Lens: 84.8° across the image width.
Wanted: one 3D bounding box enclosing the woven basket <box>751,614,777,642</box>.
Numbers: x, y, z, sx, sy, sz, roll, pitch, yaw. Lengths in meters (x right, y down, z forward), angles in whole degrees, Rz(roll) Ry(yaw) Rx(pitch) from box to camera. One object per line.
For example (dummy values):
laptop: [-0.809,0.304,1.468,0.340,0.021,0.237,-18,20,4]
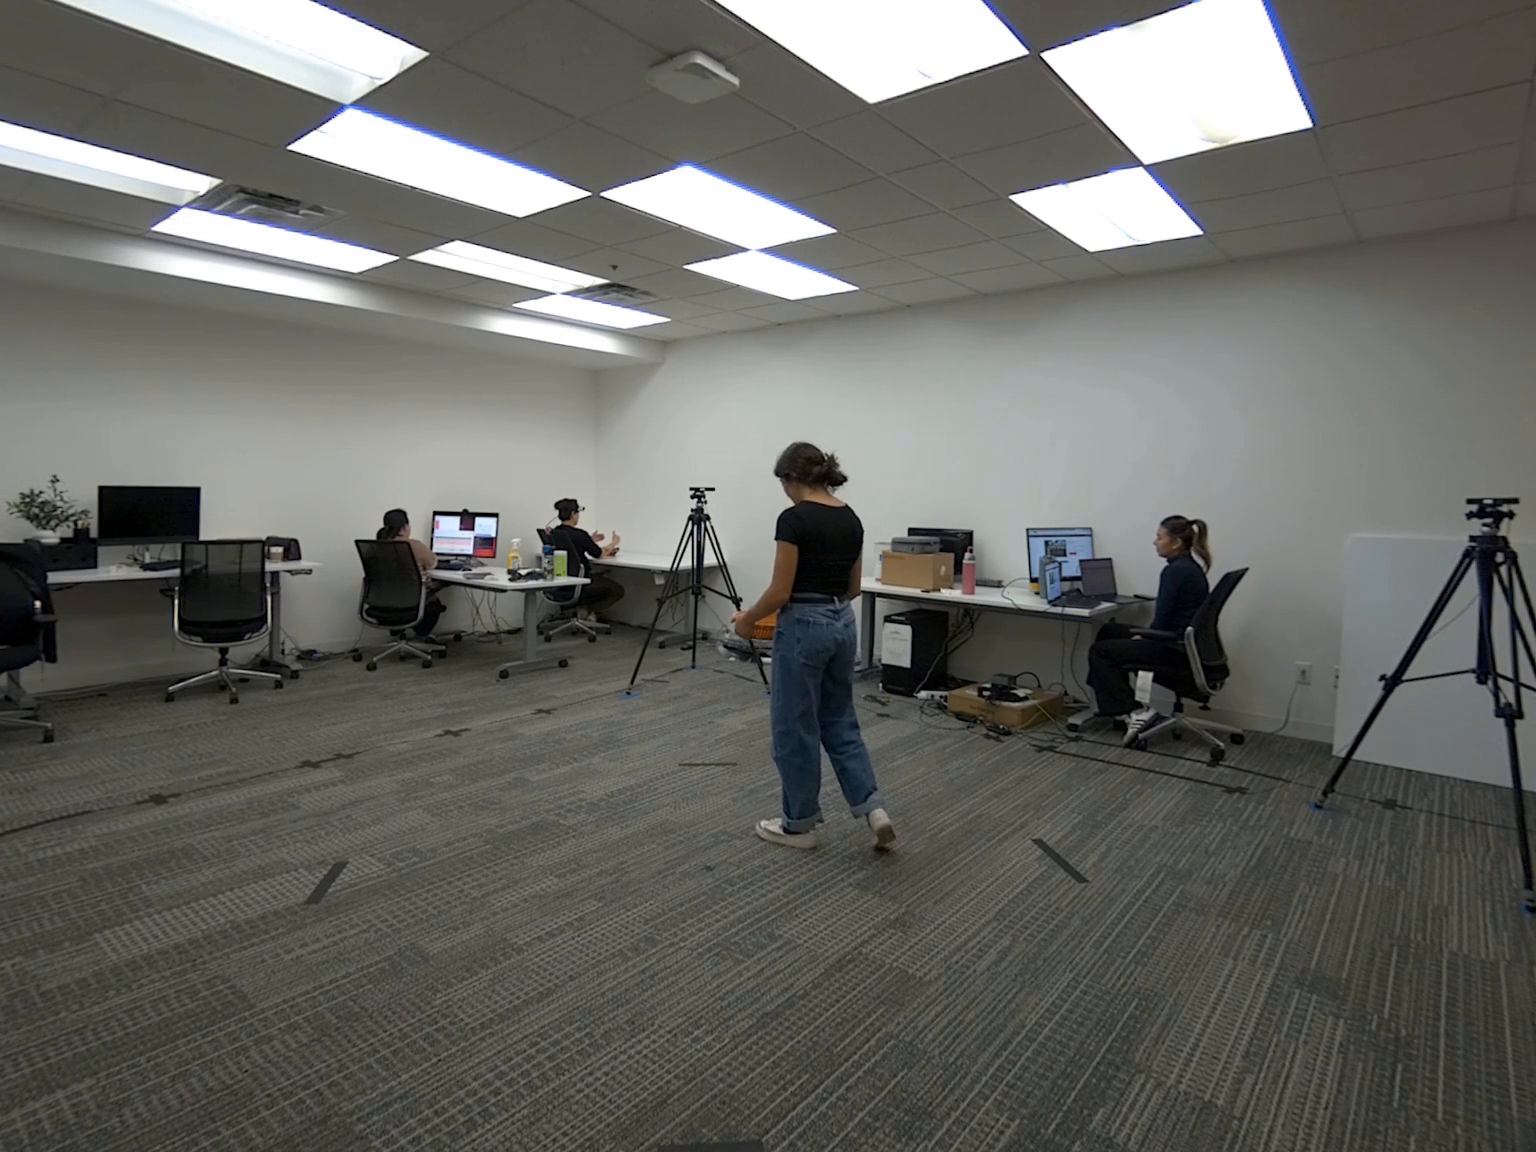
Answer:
woven basket: [0.012,0.201,3.486,0.340,0.073,0.262,-2,11,-39]
